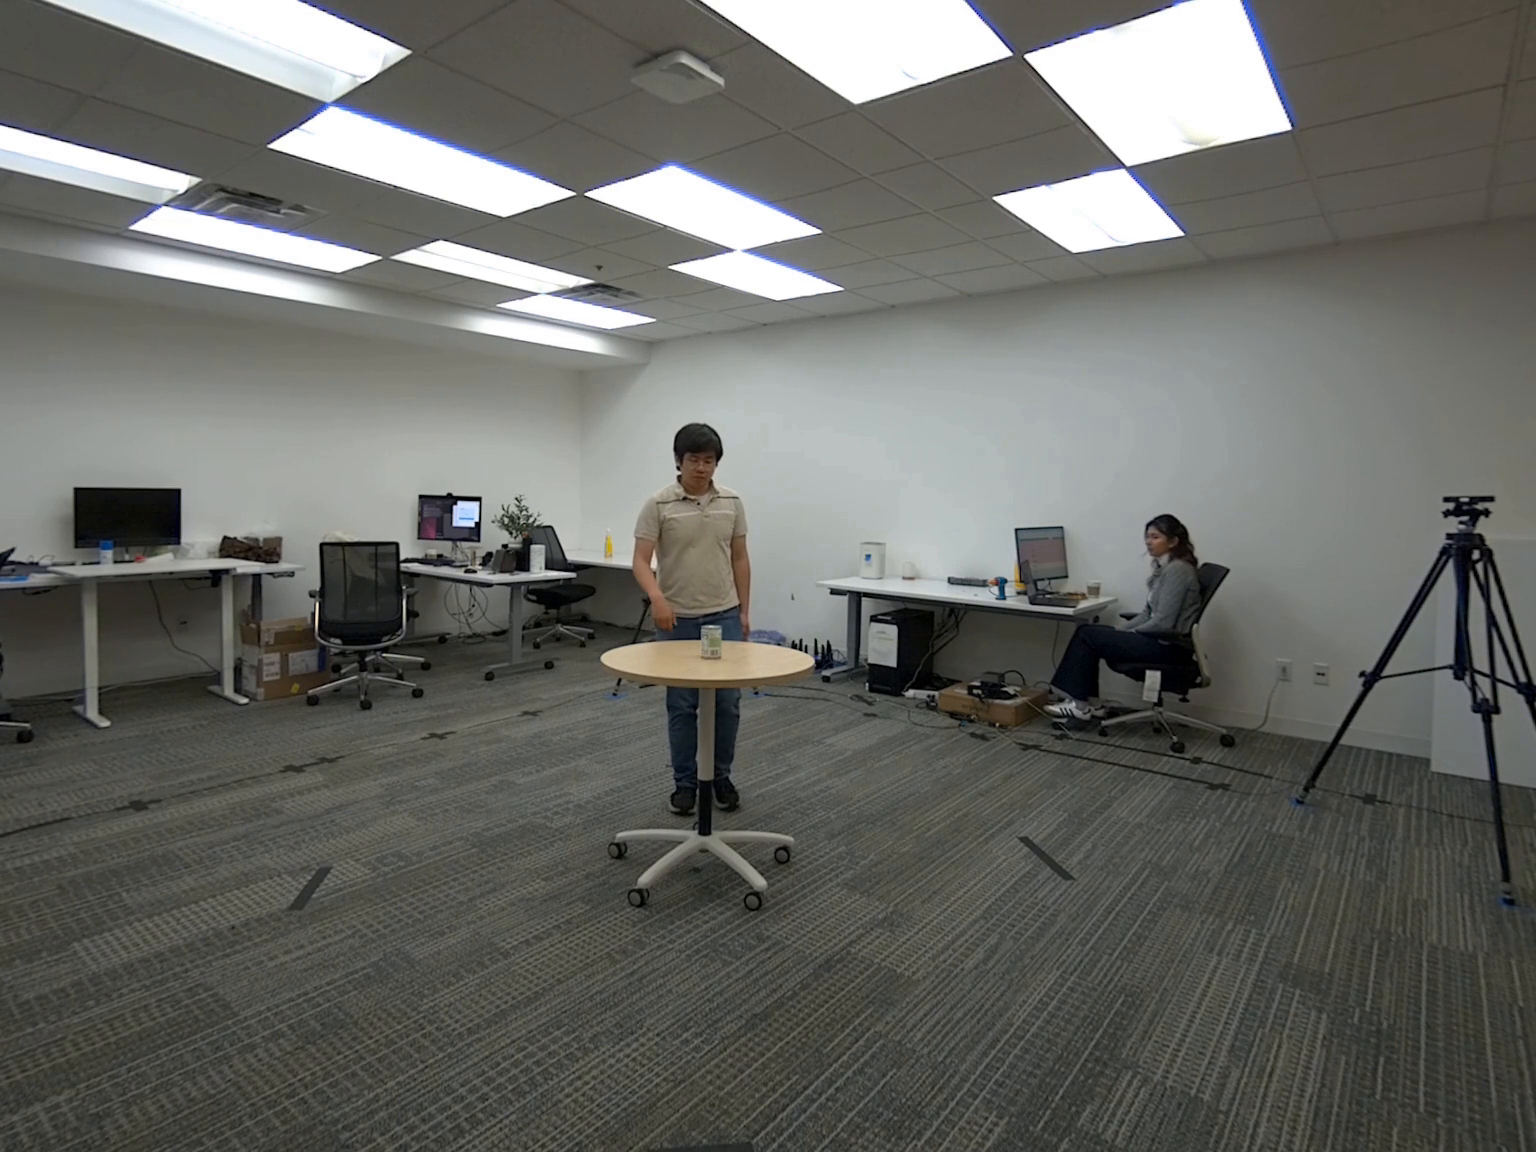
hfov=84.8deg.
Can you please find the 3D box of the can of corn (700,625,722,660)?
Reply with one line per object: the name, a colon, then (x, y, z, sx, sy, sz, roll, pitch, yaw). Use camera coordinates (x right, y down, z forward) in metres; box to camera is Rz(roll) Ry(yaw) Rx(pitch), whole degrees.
can of corn: (-0.216, 0.231, 3.052, 0.074, 0.111, 0.074, 0, 2, -2)
